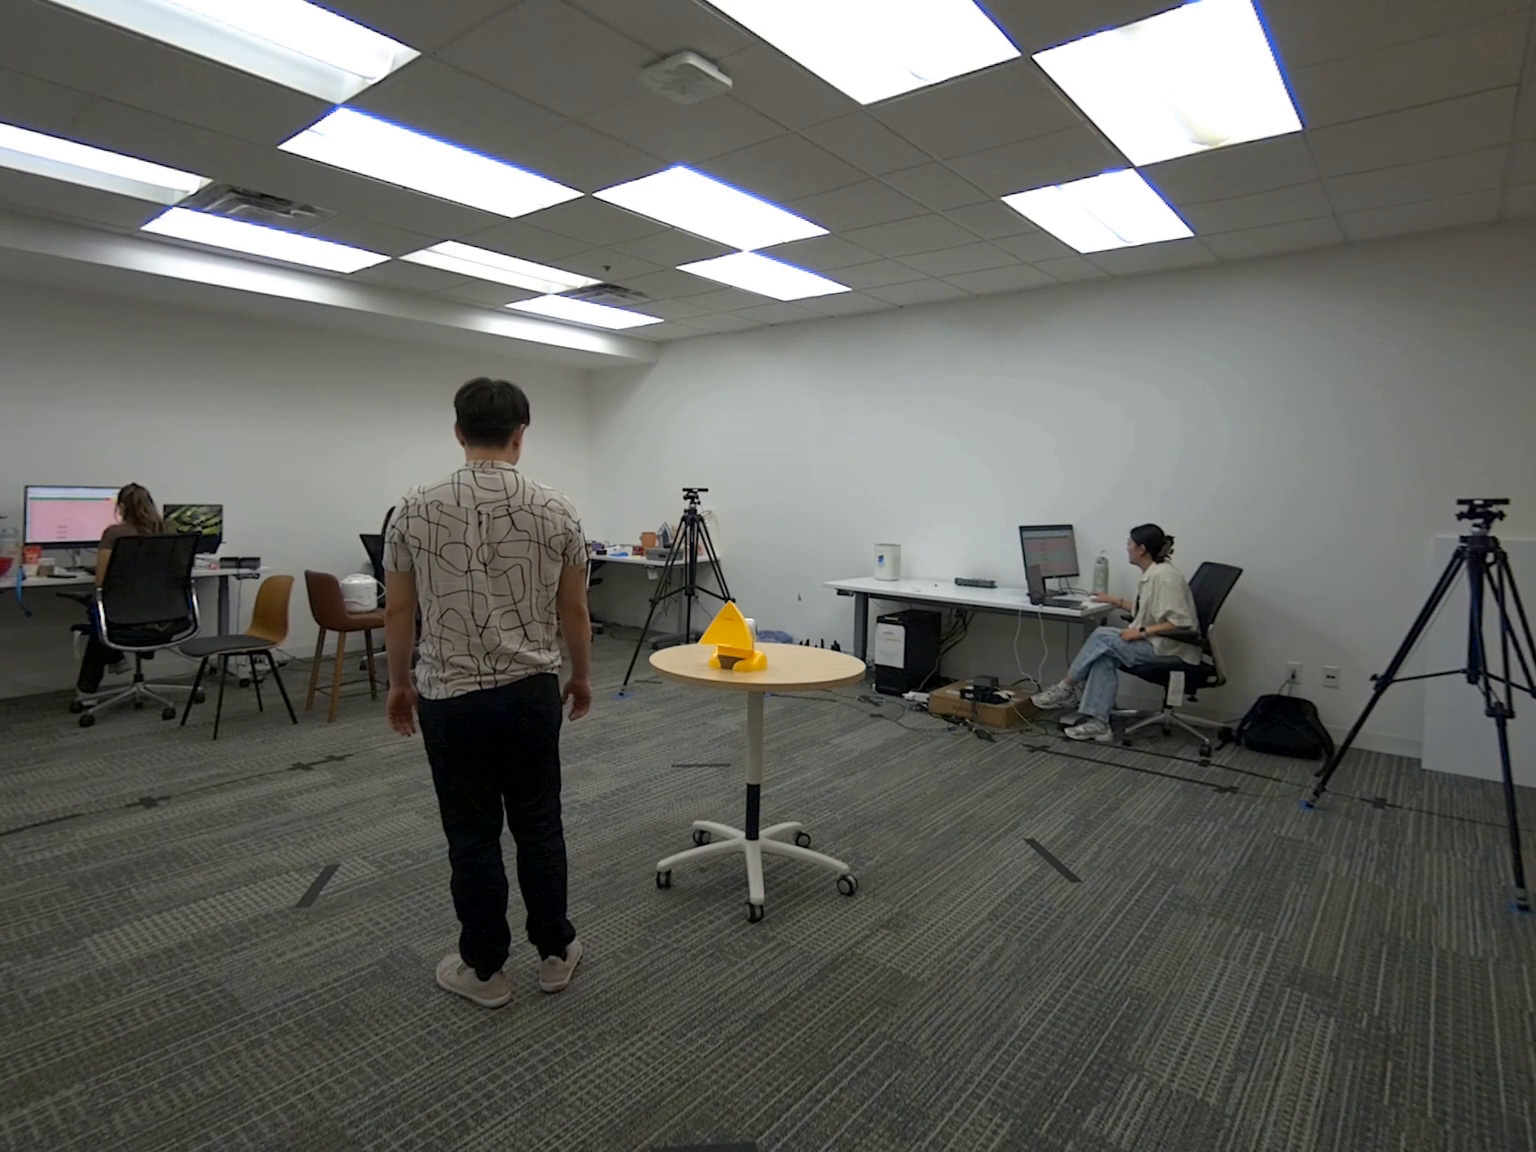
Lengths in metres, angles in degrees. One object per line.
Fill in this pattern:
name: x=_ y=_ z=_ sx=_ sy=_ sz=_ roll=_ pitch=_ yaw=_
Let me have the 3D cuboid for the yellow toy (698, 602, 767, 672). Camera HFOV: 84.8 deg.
yellow toy: x=-0.113 y=0.191 z=2.914 sx=0.211 sy=0.230 sz=0.188 roll=3 pitch=4 yaw=29
